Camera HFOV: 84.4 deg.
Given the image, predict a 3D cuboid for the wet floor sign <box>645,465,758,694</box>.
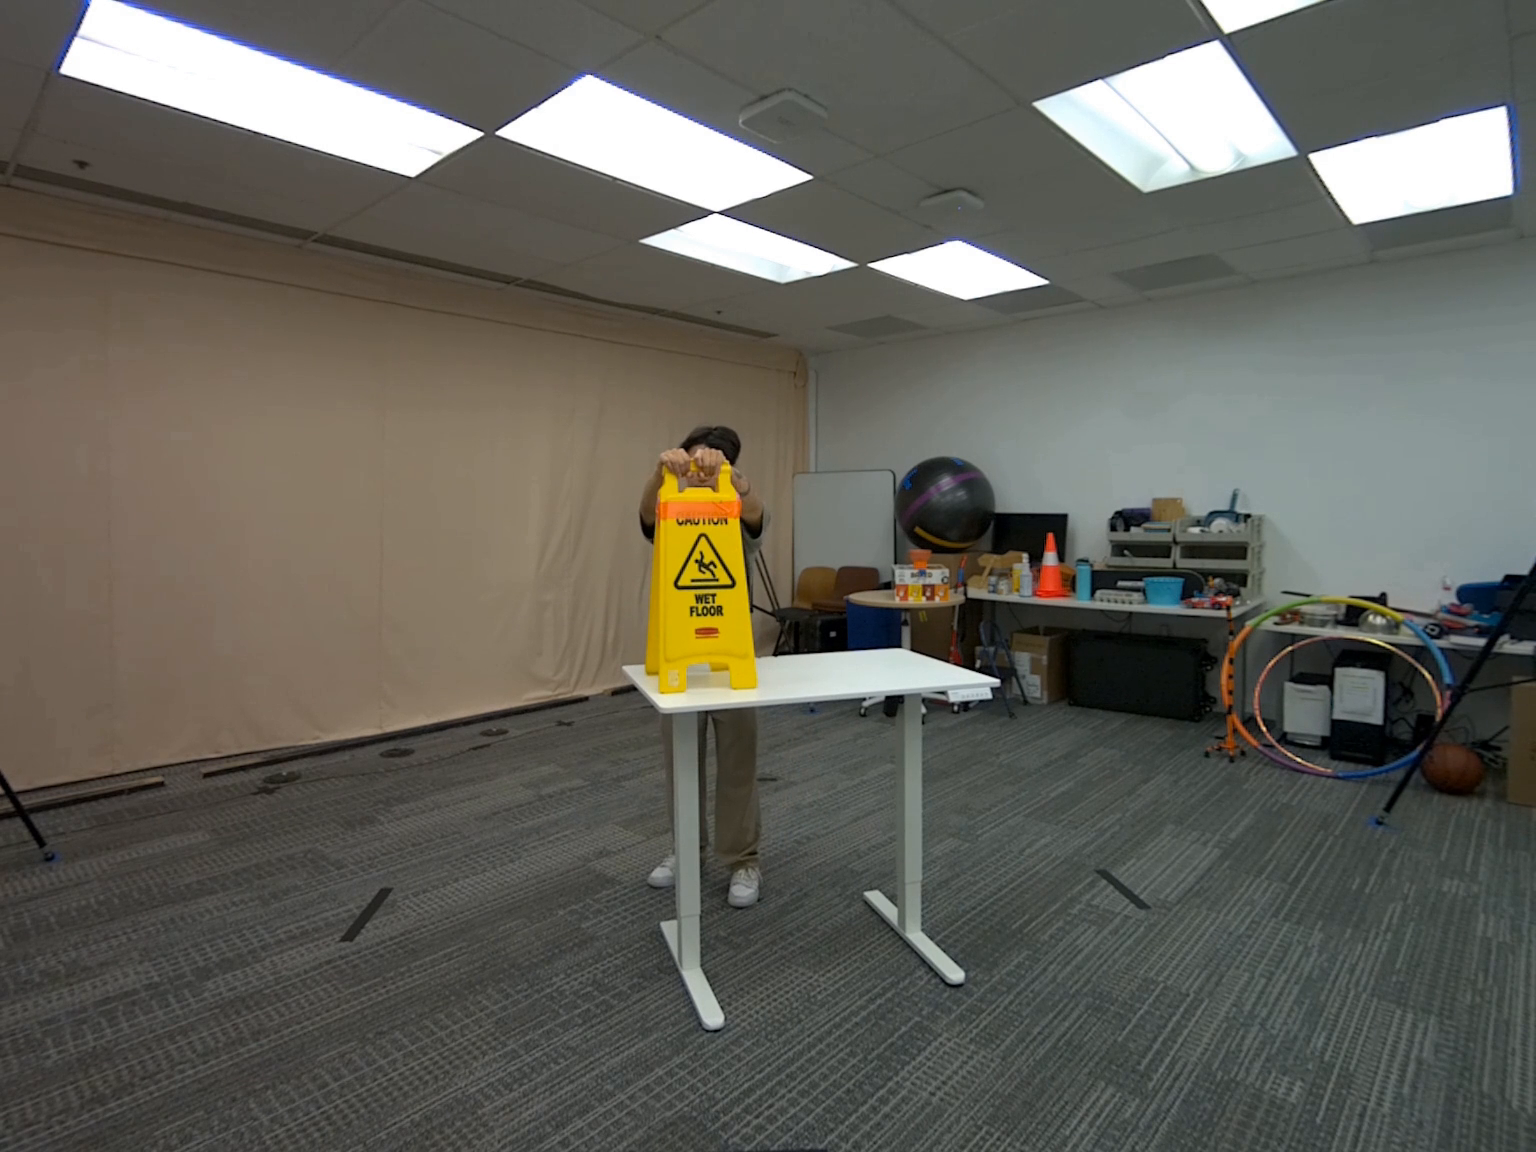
[{"bbox_3d":[-0.207,-0.011,2.447,0.278,0.645,0.295,-1,4,-15],"label":"wet floor sign"}]
